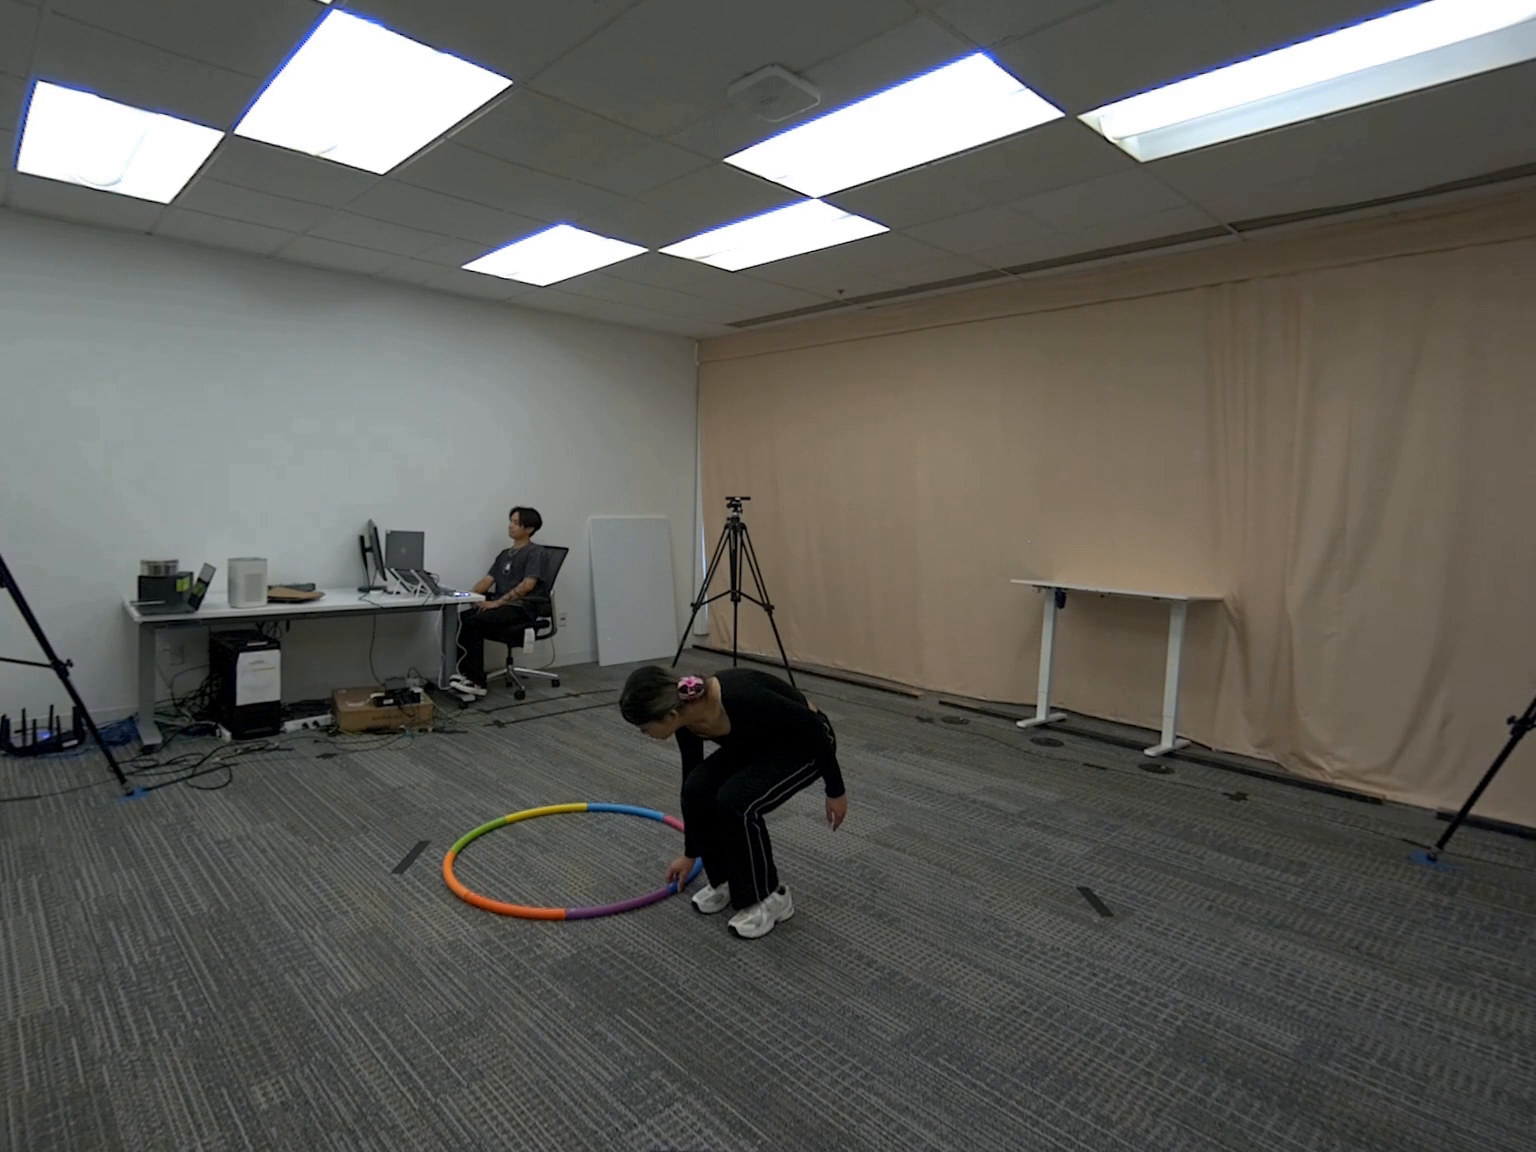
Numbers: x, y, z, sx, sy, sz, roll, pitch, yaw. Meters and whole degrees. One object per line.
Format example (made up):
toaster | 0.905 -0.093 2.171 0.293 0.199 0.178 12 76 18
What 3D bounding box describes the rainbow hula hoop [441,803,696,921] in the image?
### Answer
rainbow hula hoop | -0.733 1.051 3.239 0.978 0.035 0.982 2 5 -1
